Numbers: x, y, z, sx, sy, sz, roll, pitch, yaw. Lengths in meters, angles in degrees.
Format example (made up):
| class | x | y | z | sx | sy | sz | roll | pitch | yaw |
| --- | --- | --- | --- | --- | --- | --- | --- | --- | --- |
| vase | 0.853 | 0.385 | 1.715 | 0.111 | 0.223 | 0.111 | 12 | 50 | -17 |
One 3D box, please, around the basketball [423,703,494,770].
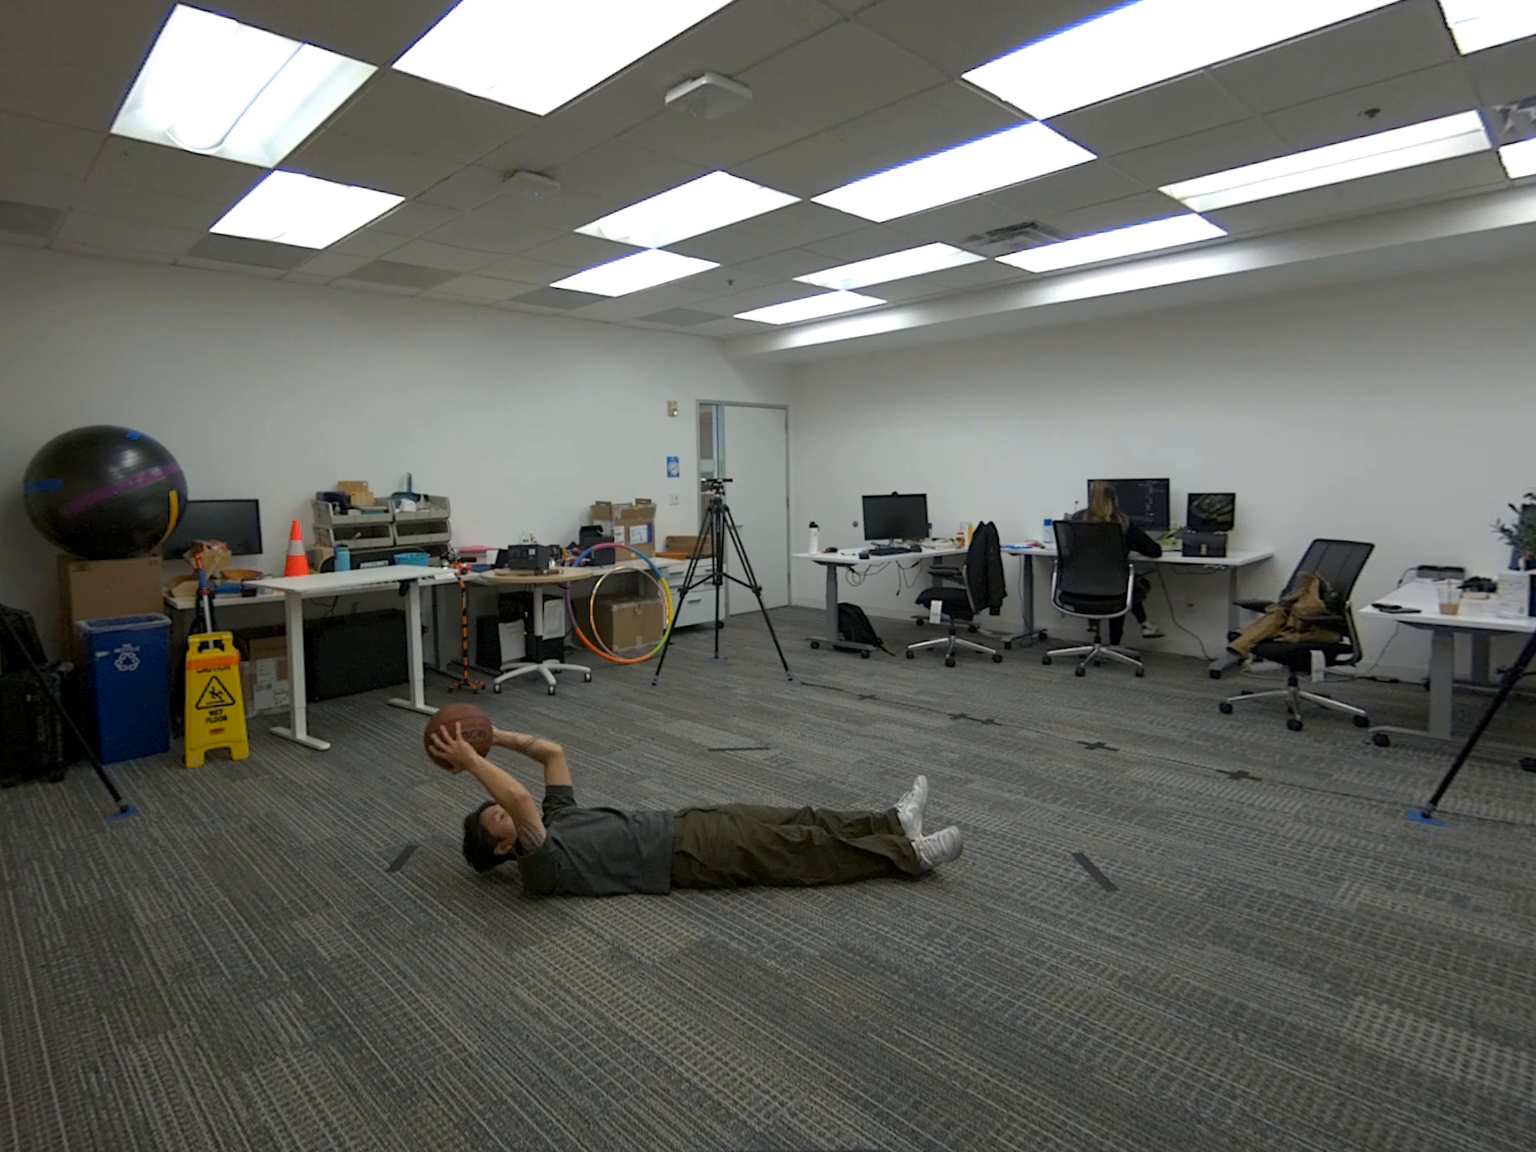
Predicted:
| class | x | y | z | sx | sy | sz | roll | pitch | yaw |
| --- | --- | --- | --- | --- | --- | --- | --- | --- | --- |
| basketball | -1.094 | 0.581 | 3.052 | 0.236 | 0.235 | 0.237 | -1 | 5 | -2 |
